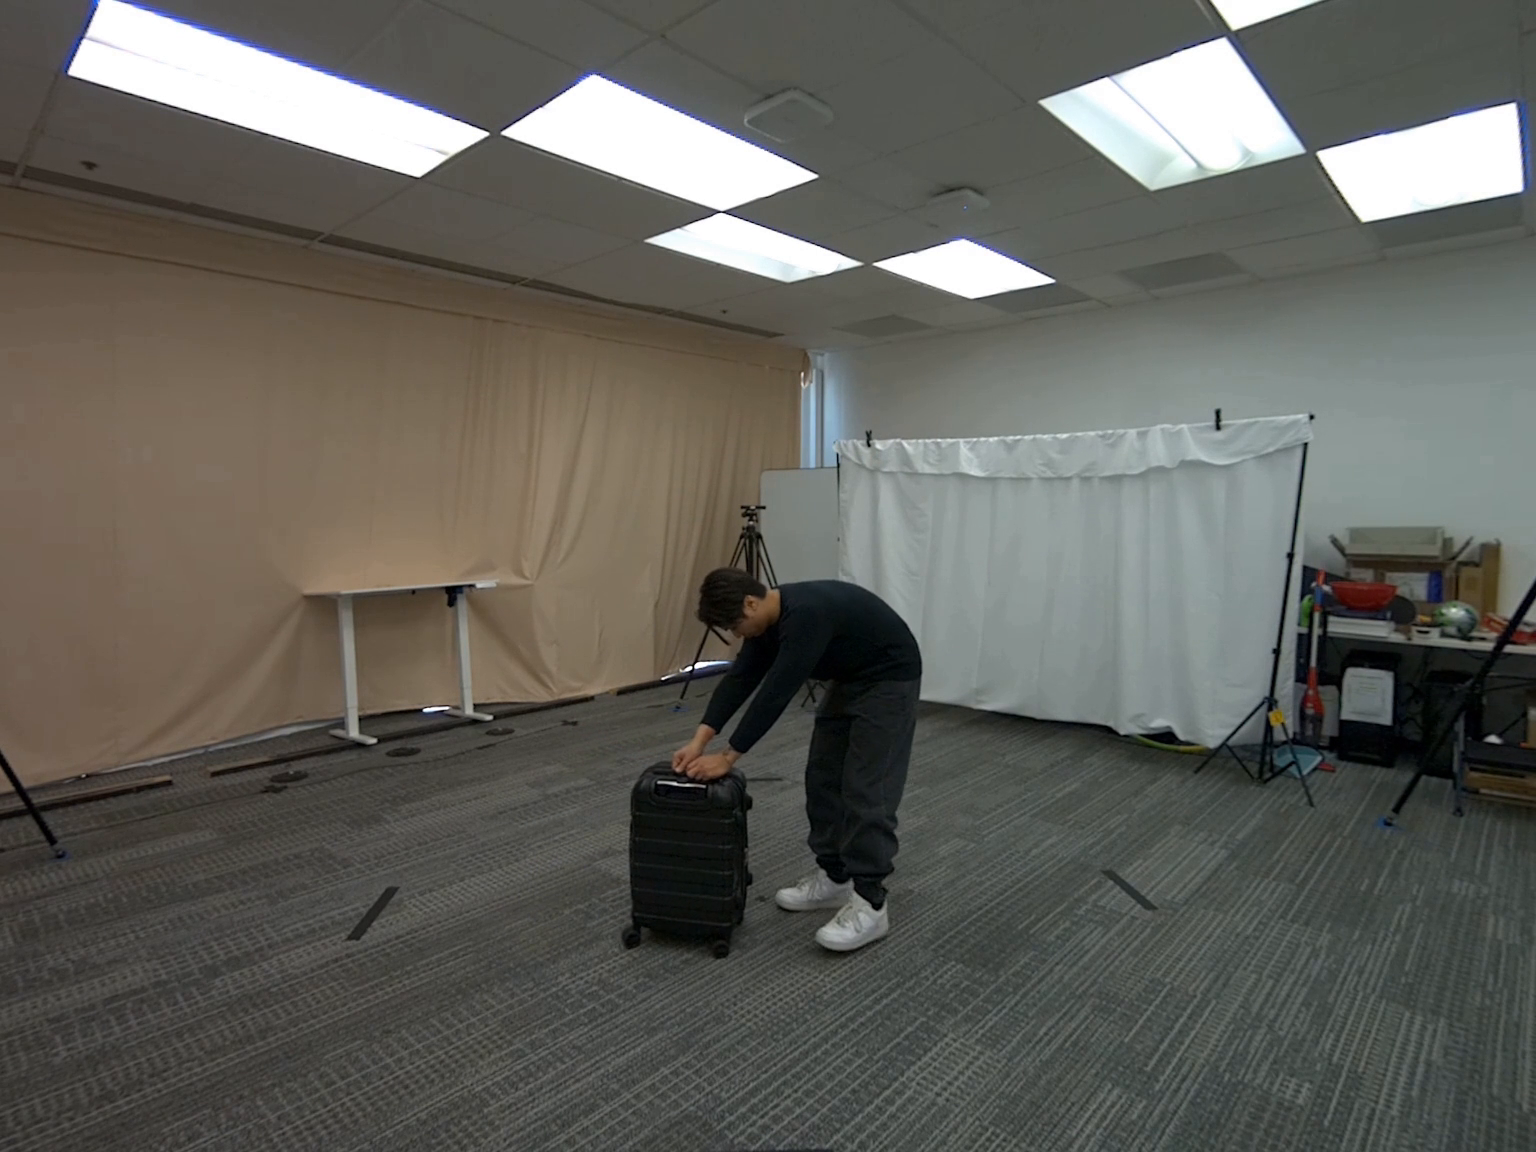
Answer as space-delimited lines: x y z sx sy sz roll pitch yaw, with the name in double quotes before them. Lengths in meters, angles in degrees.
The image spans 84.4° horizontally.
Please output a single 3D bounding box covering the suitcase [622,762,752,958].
"suitcase" -0.249 0.894 2.734 0.381 0.549 0.245 0 2 12
